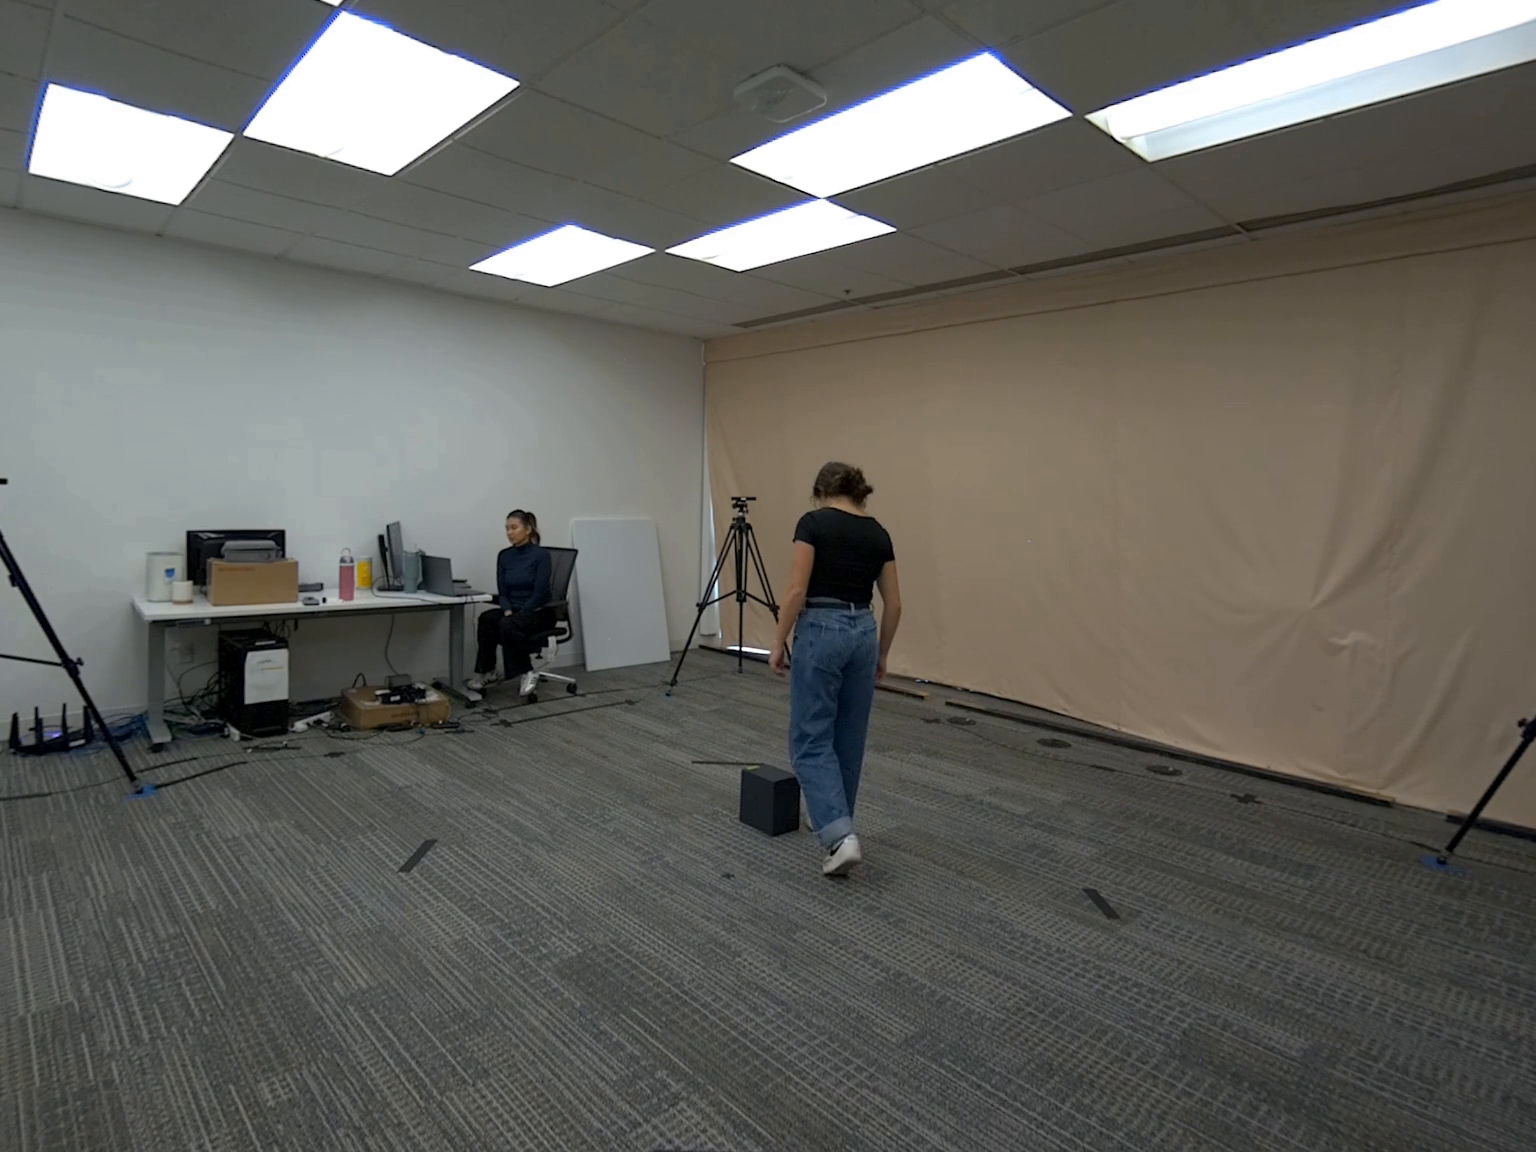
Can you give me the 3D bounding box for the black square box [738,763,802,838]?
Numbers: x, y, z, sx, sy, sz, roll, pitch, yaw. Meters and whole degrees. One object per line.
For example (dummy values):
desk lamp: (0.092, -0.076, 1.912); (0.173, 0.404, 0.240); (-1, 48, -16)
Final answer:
black square box: (0.003, 0.946, 3.596); (0.152, 0.227, 0.222); (0, 3, -40)
